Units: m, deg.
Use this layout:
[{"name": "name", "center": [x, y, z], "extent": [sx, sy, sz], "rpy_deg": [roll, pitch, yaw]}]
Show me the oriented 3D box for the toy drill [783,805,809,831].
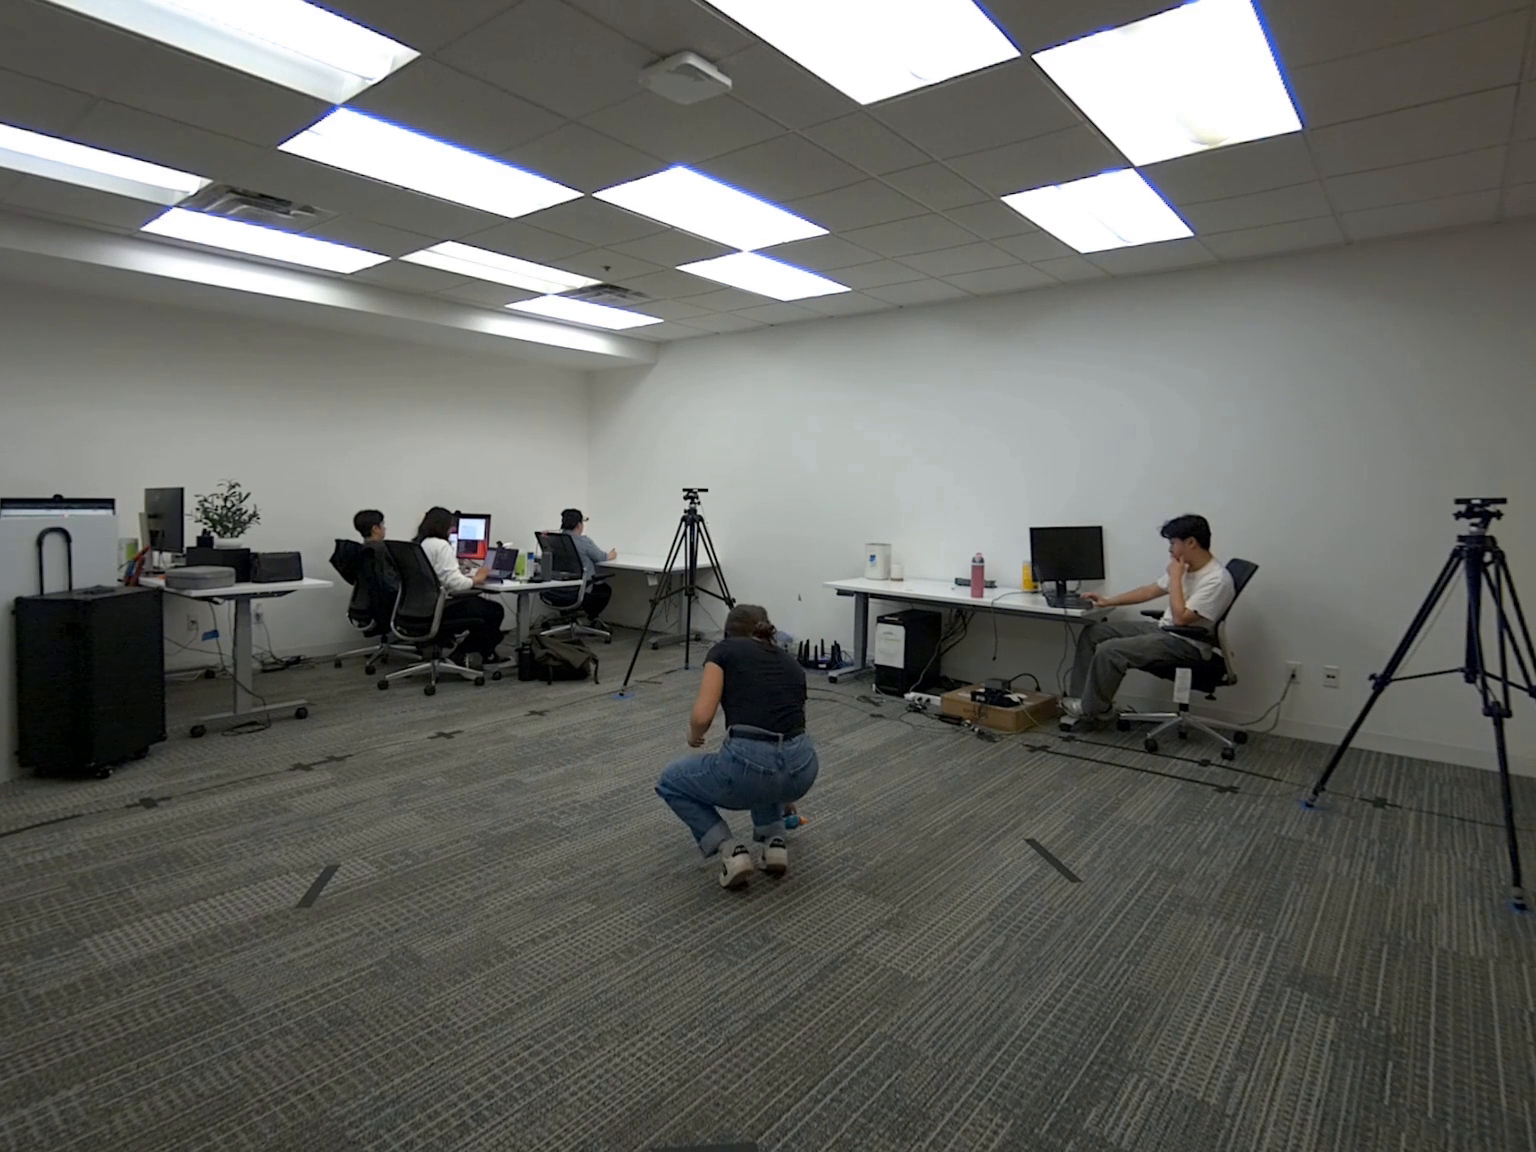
[{"name": "toy drill", "center": [0.086, 0.958, 3.420], "extent": [0.165, 0.061, 0.150], "rpy_deg": [1, 3, -31]}]
